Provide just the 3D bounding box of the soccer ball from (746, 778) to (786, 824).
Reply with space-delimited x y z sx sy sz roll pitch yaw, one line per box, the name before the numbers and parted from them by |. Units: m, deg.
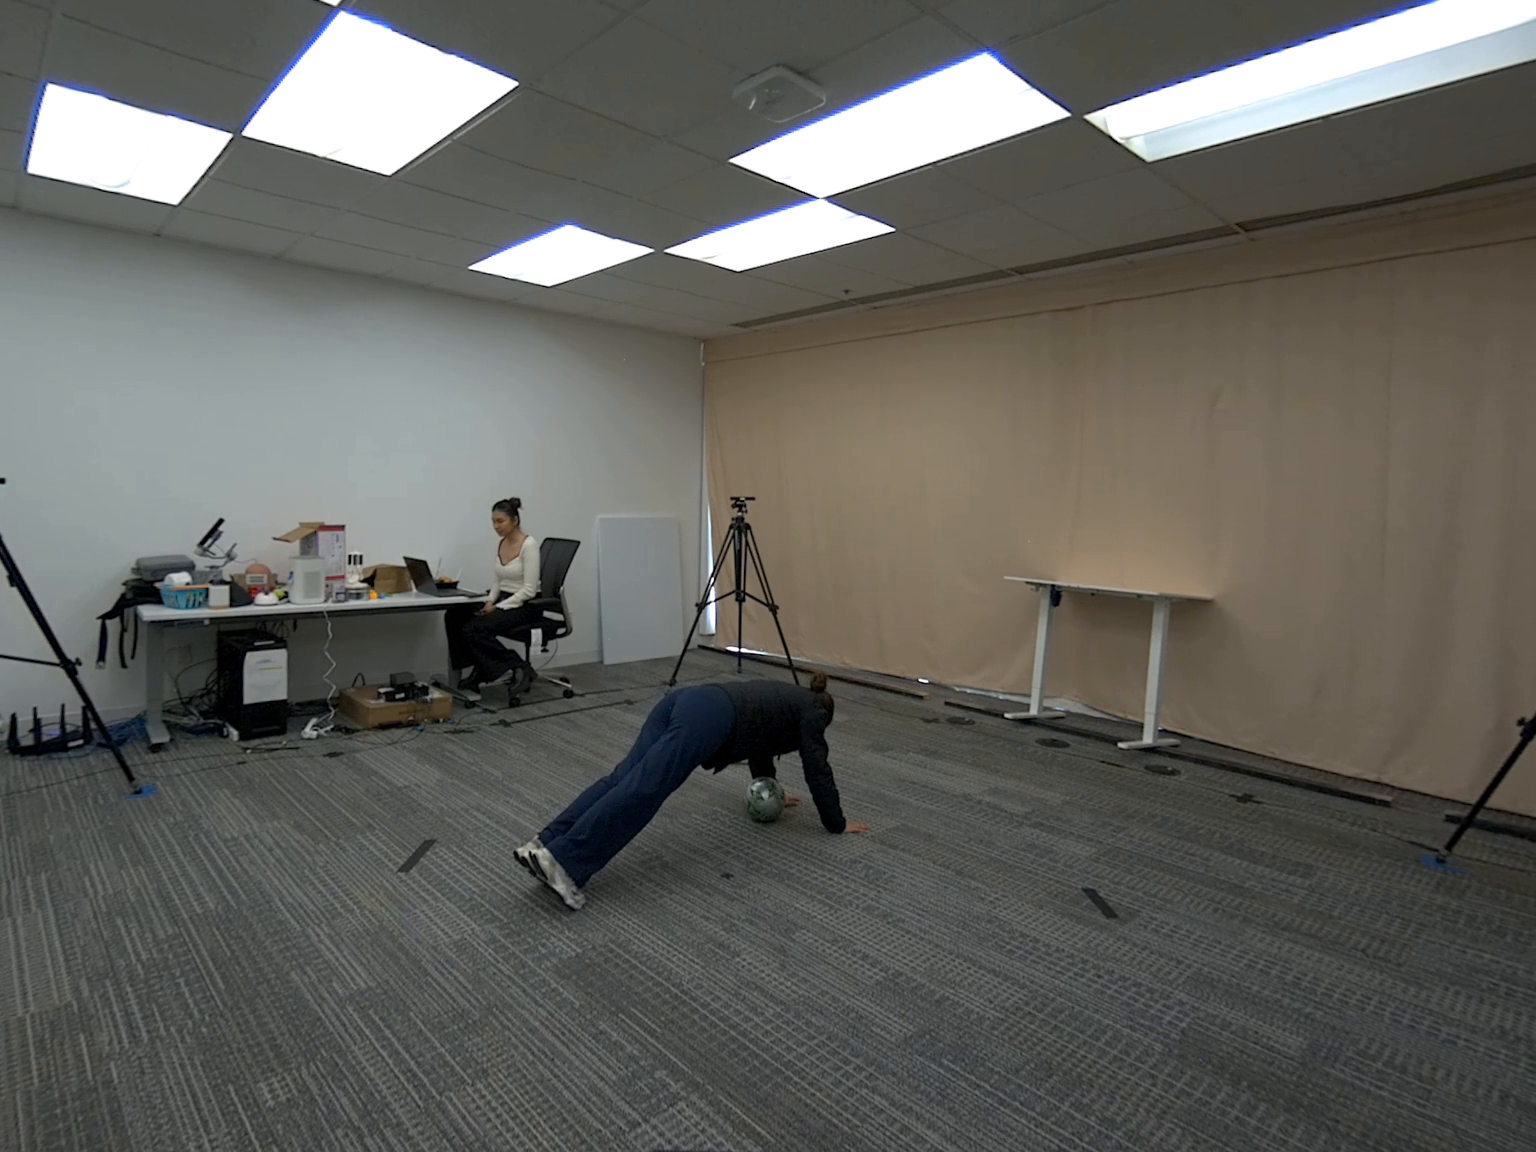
soccer ball | -0.031 0.975 3.663 0.187 0.187 0.188 1 4 -1
